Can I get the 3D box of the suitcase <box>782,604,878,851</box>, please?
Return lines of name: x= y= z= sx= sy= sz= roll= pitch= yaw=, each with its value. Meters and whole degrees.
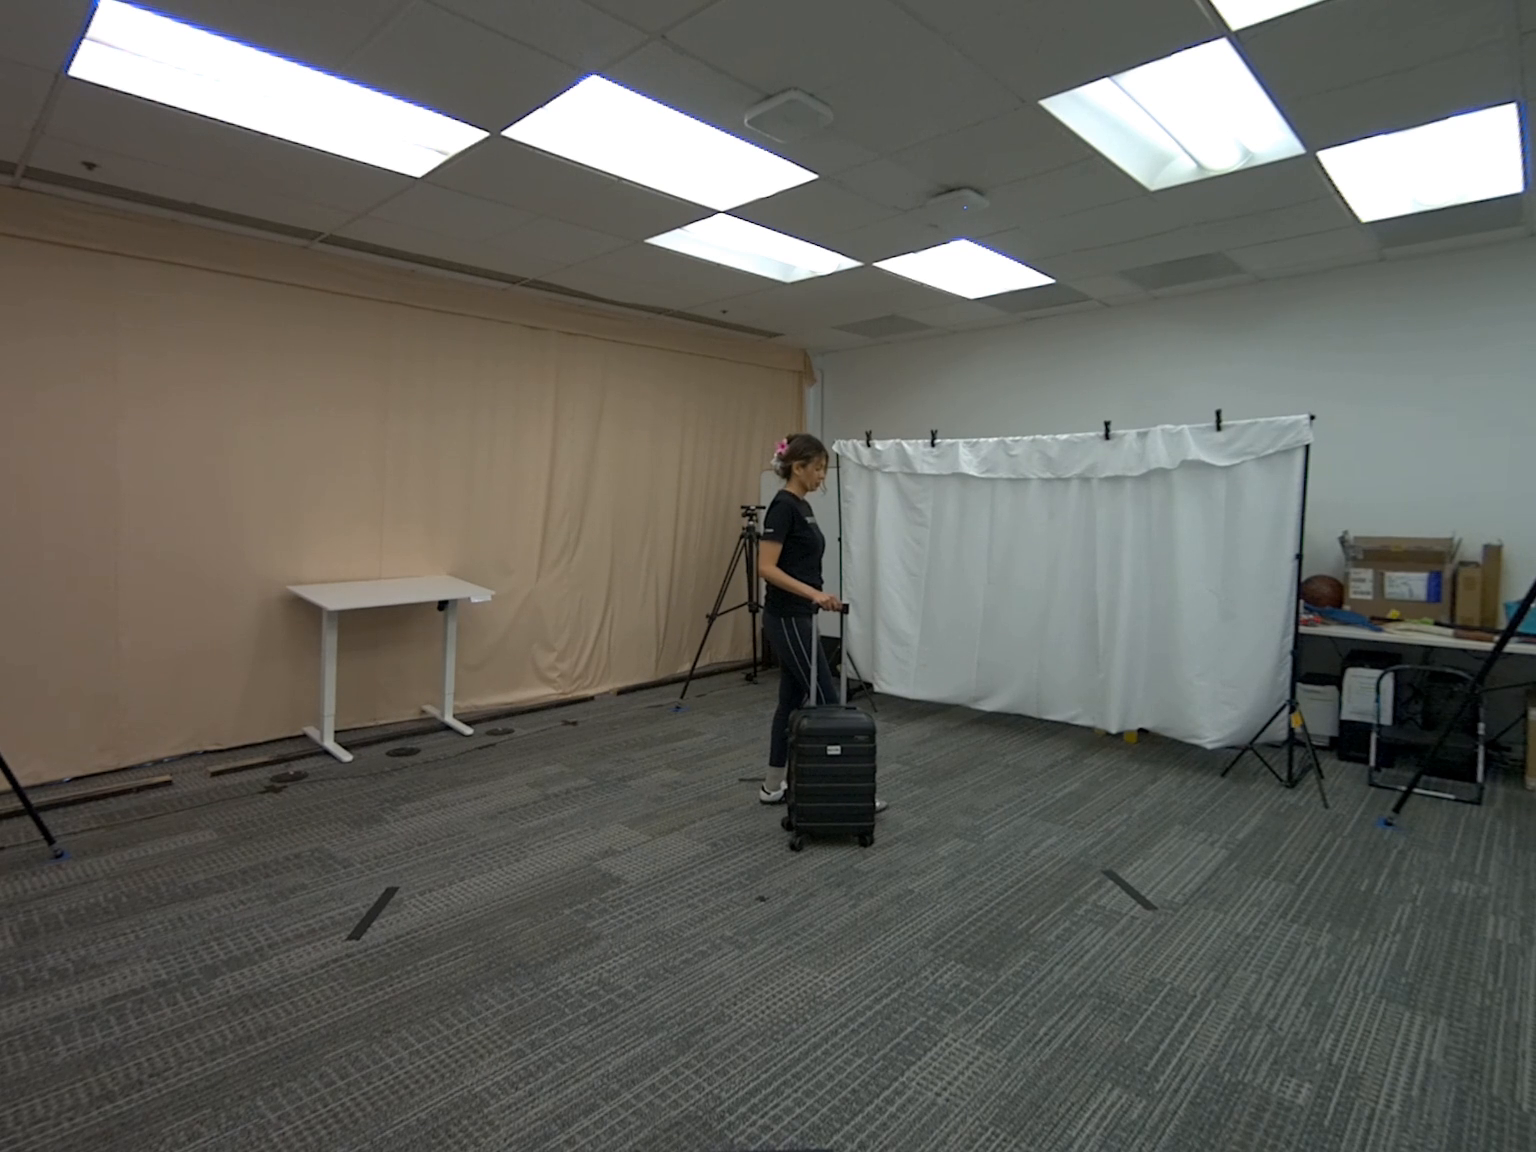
suitcase: x=0.276 y=0.624 z=3.495 sx=0.381 sy=0.975 sz=0.259 roll=1 pitch=5 yaw=-6
